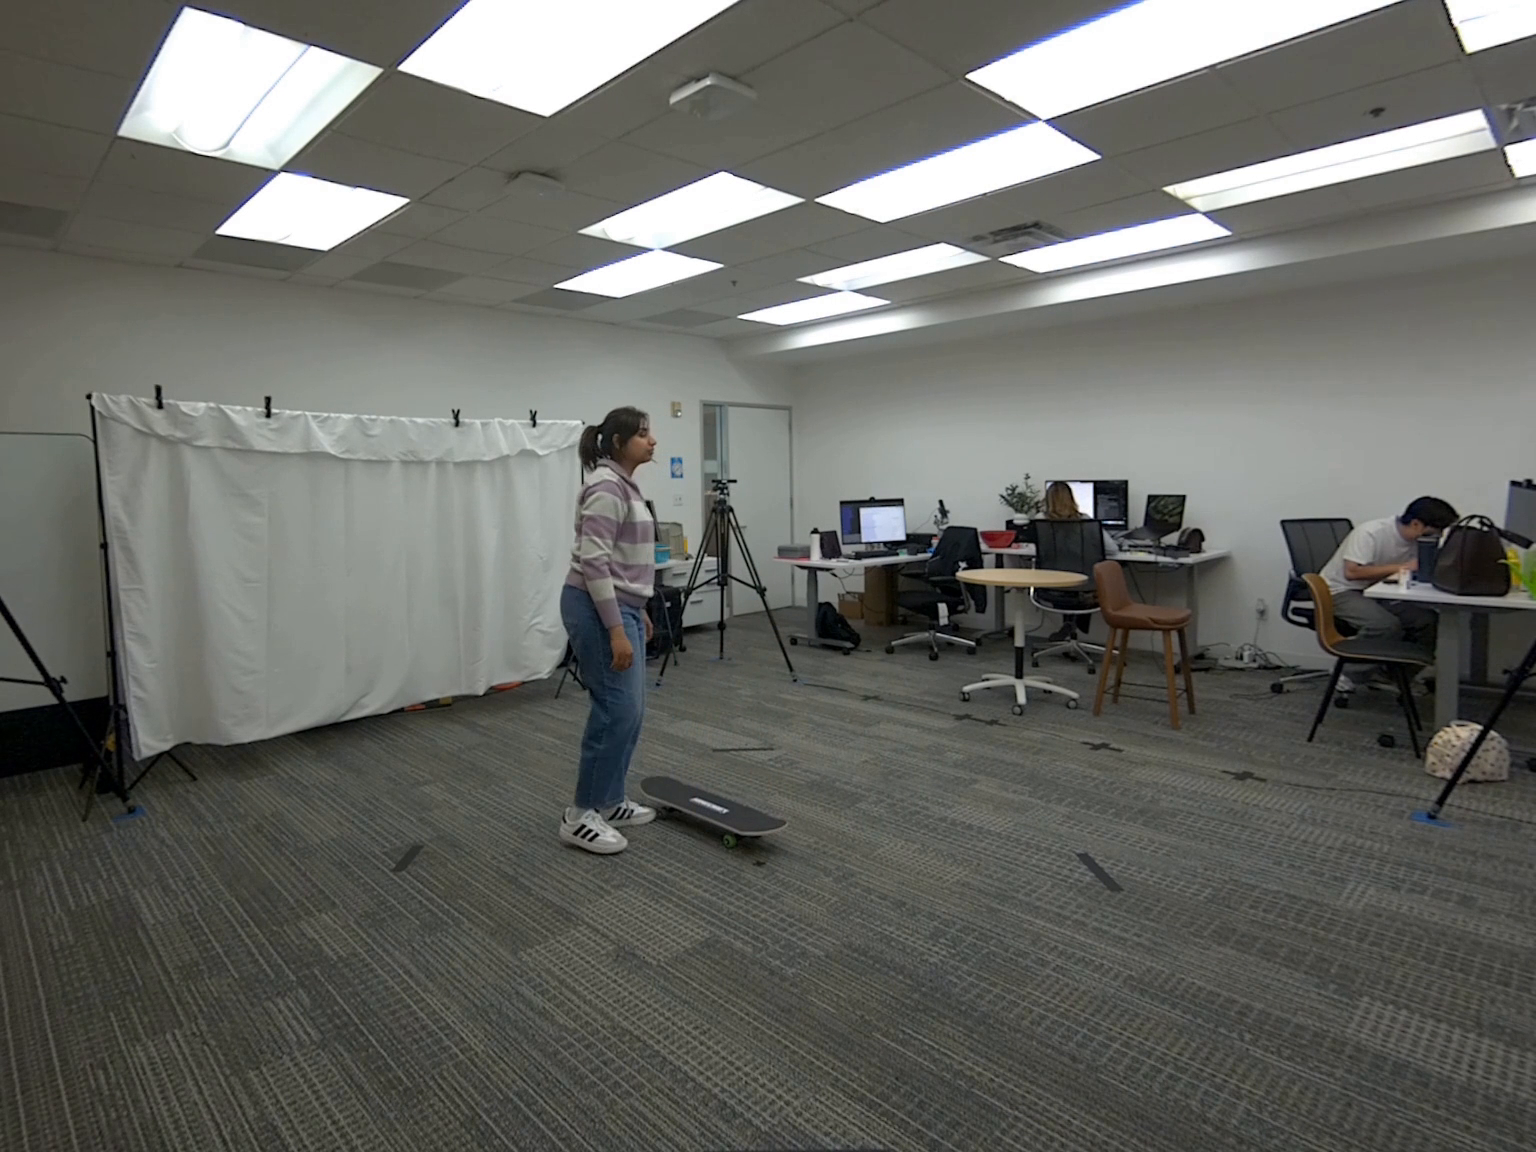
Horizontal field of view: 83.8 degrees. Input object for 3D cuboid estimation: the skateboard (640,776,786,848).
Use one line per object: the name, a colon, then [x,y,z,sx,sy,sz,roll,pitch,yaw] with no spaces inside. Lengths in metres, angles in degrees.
skateboard: [-0.238,0.956,3.439,0.188,0.110,0.810,-7,9,-44]
